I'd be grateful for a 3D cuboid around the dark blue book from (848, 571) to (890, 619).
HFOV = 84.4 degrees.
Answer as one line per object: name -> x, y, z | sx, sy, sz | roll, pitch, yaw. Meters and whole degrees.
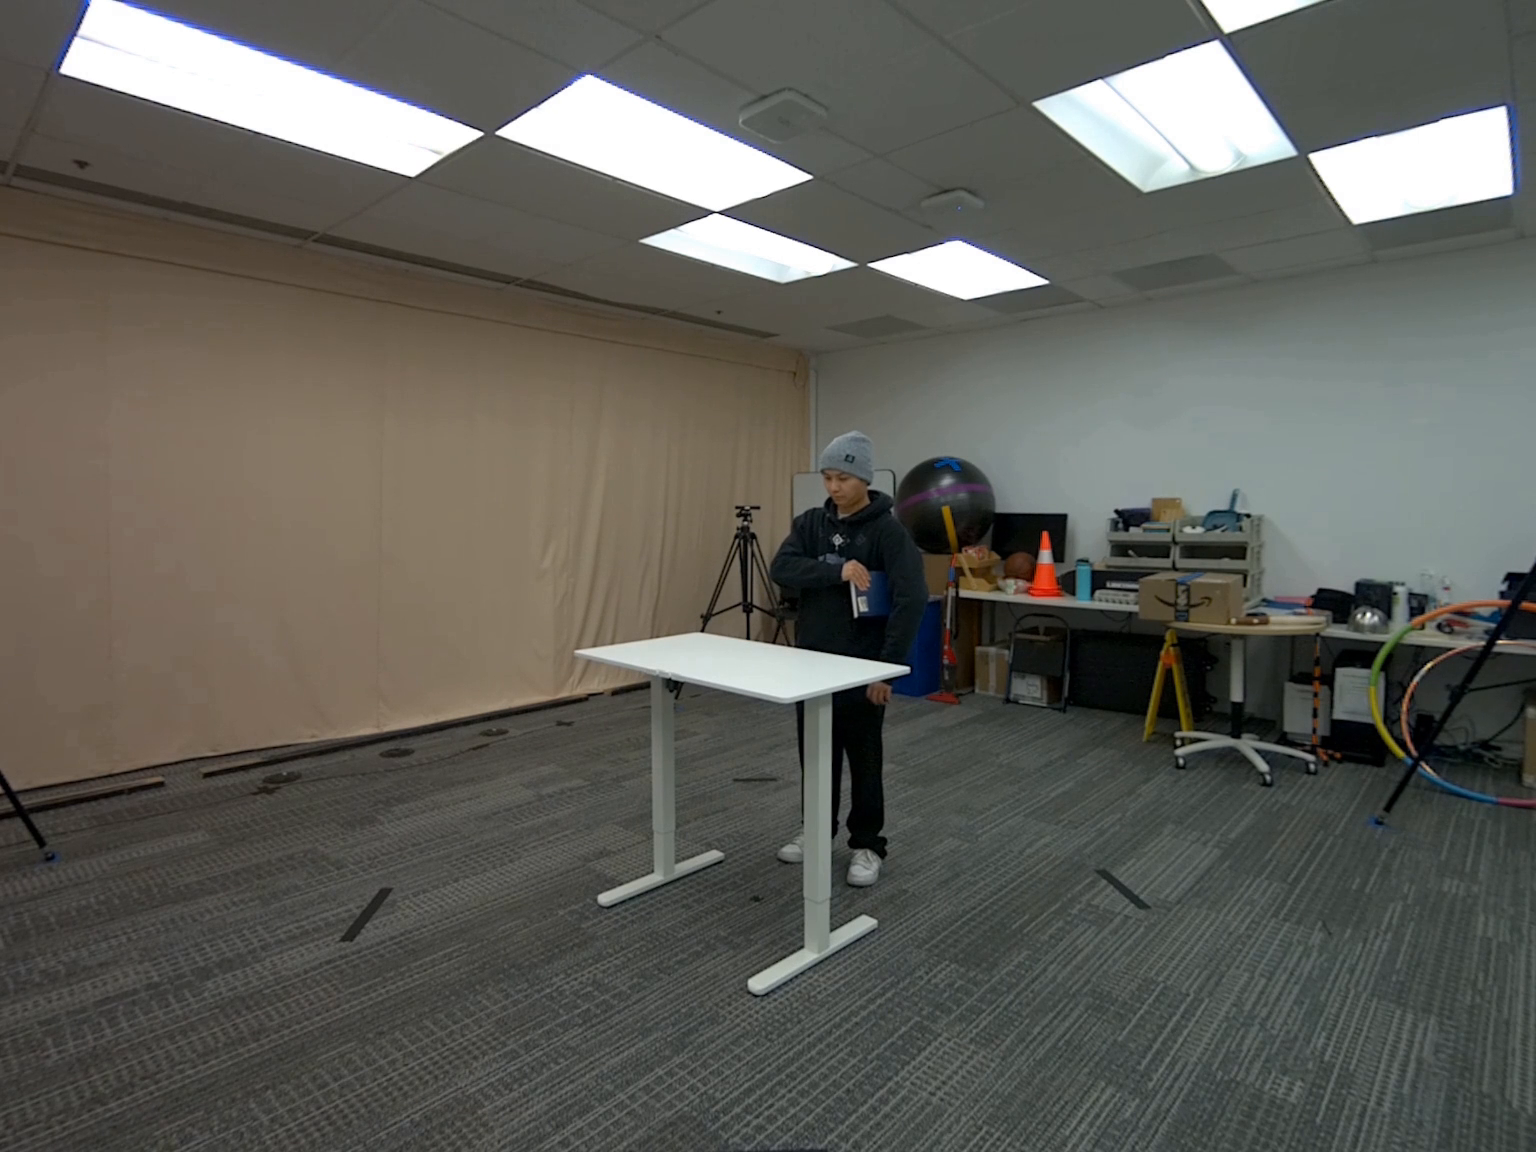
dark blue book -> 0.422, 0.075, 3.054 | 0.243, 0.165, 0.045 | -3, -15, -8
